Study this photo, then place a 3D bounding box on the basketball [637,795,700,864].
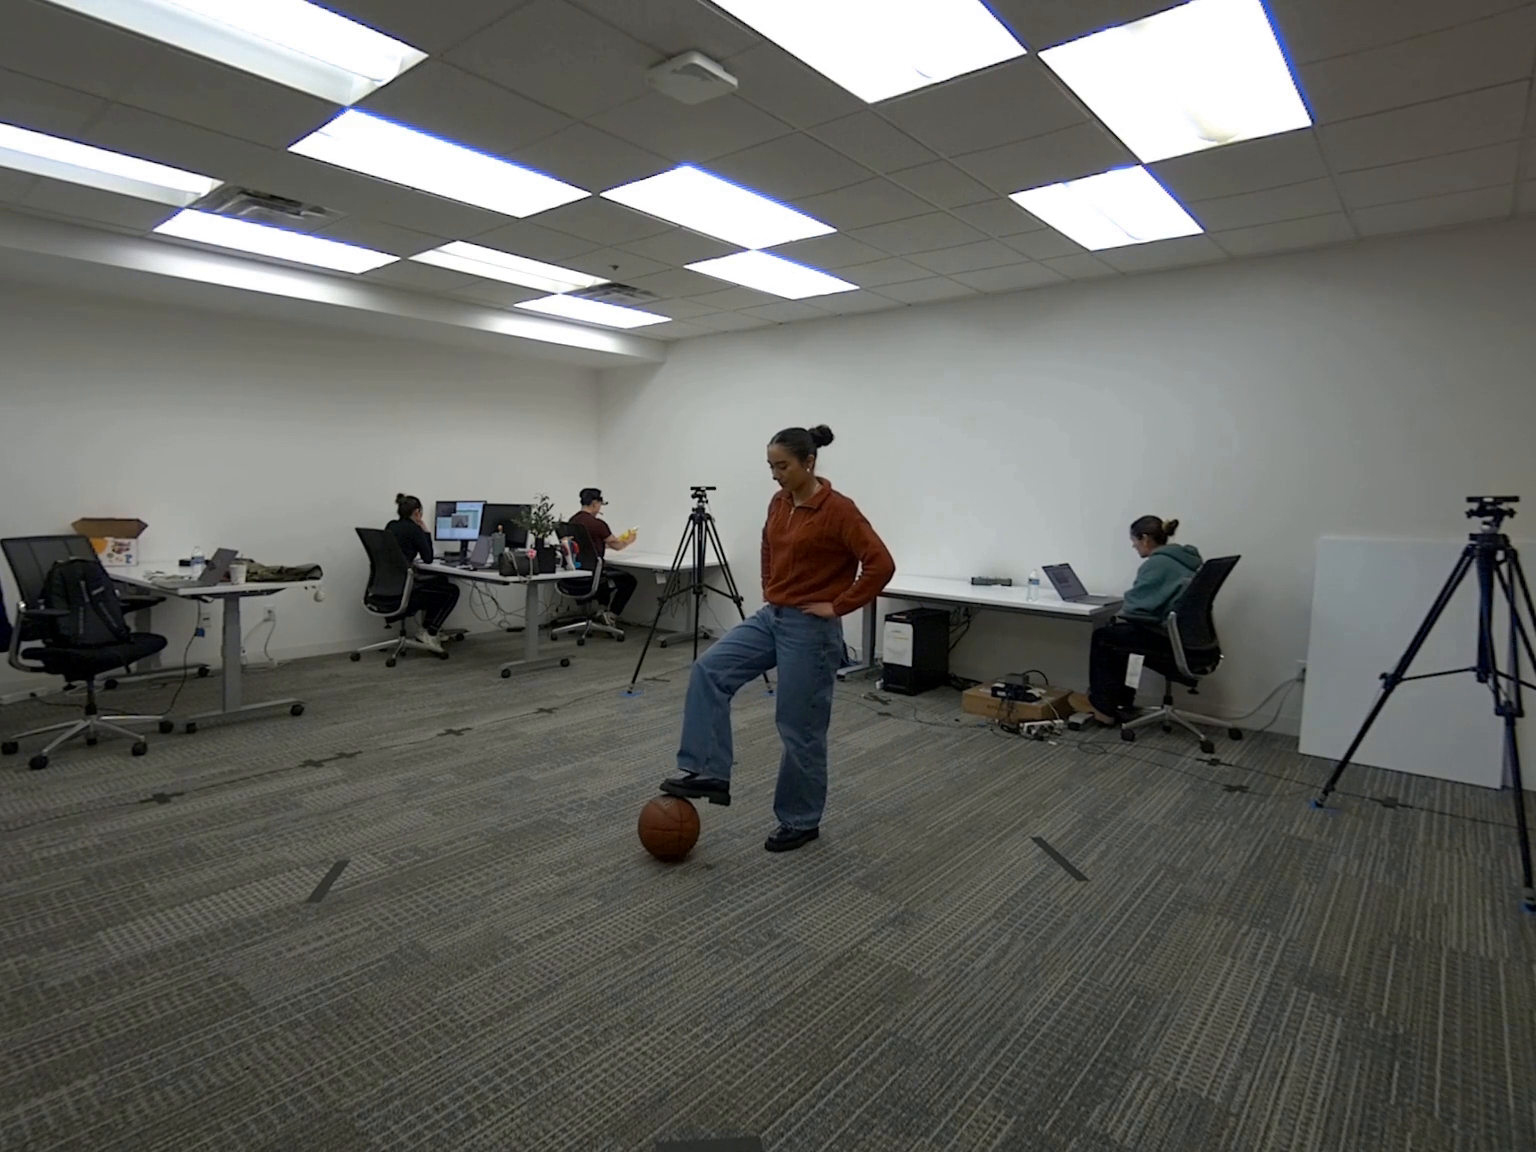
[{"bbox_3d":[-0.380,0.933,3.203,0.235,0.235,0.237,1,4,-2],"label":"basketball"}]
